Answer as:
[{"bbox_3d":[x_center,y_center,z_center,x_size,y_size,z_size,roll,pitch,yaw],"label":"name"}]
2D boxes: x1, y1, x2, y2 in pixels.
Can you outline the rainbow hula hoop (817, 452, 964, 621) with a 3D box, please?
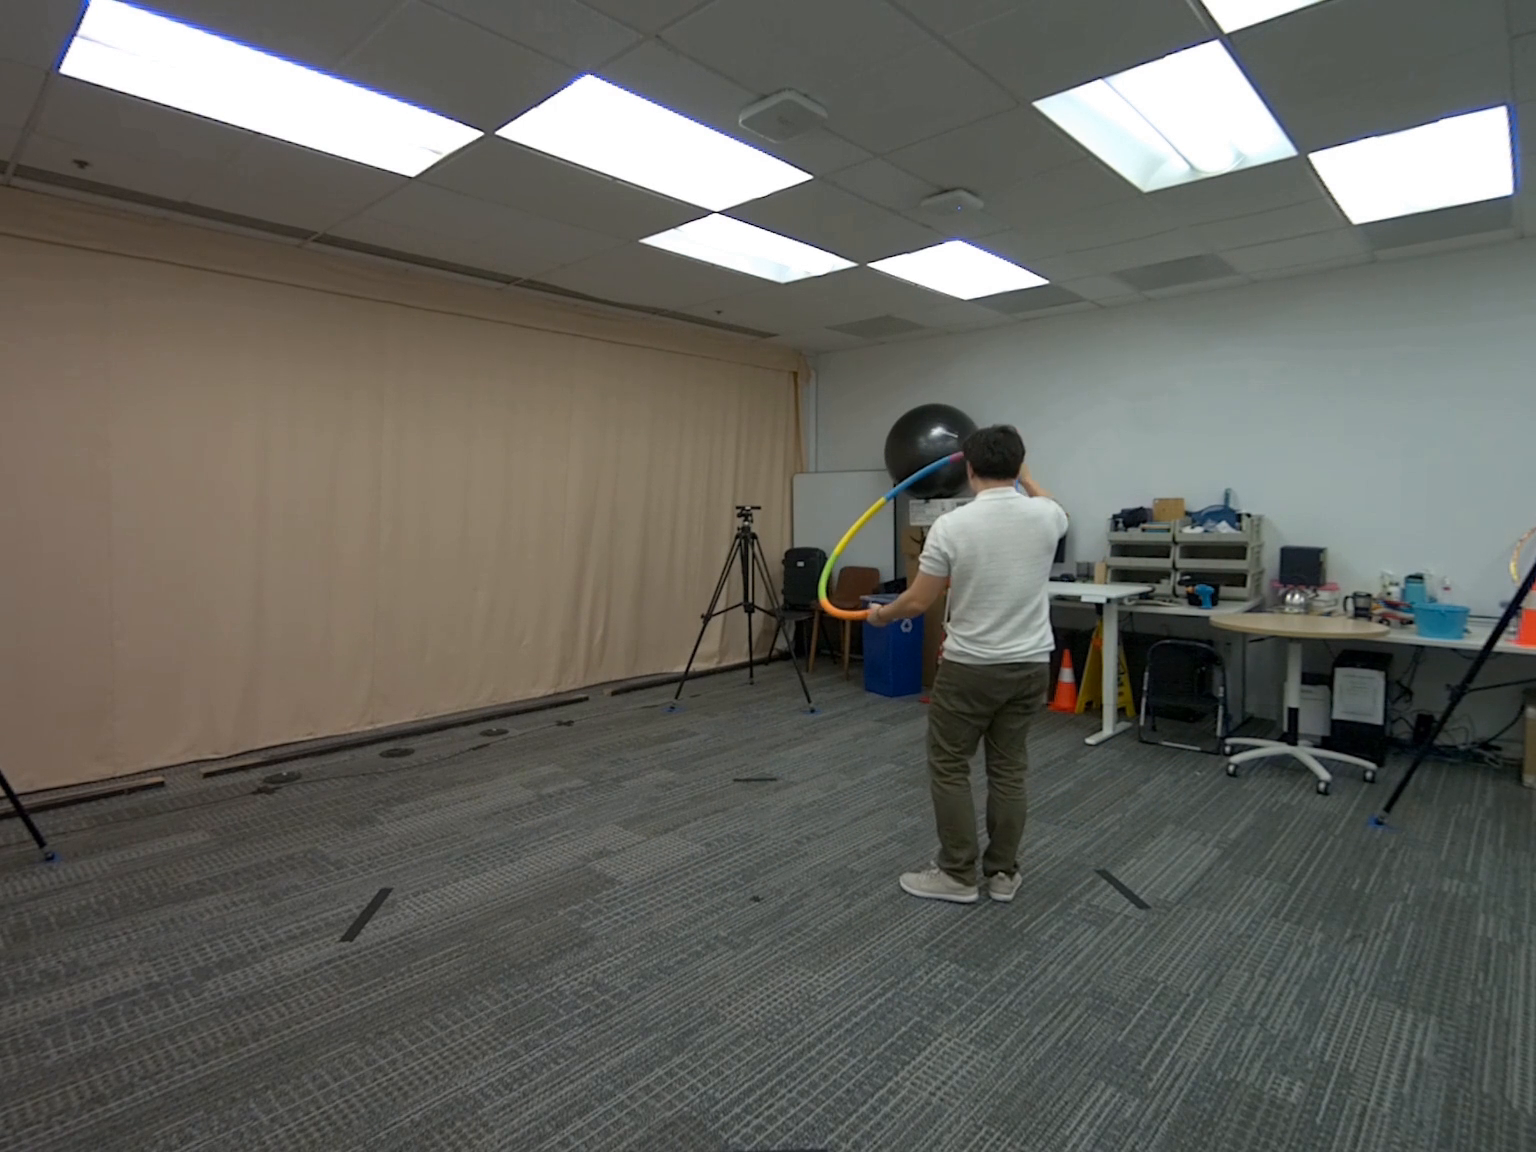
[{"bbox_3d":[0.613,-0.187,3.544,0.985,0.035,0.994,-38,22,14],"label":"rainbow hula hoop"}]
